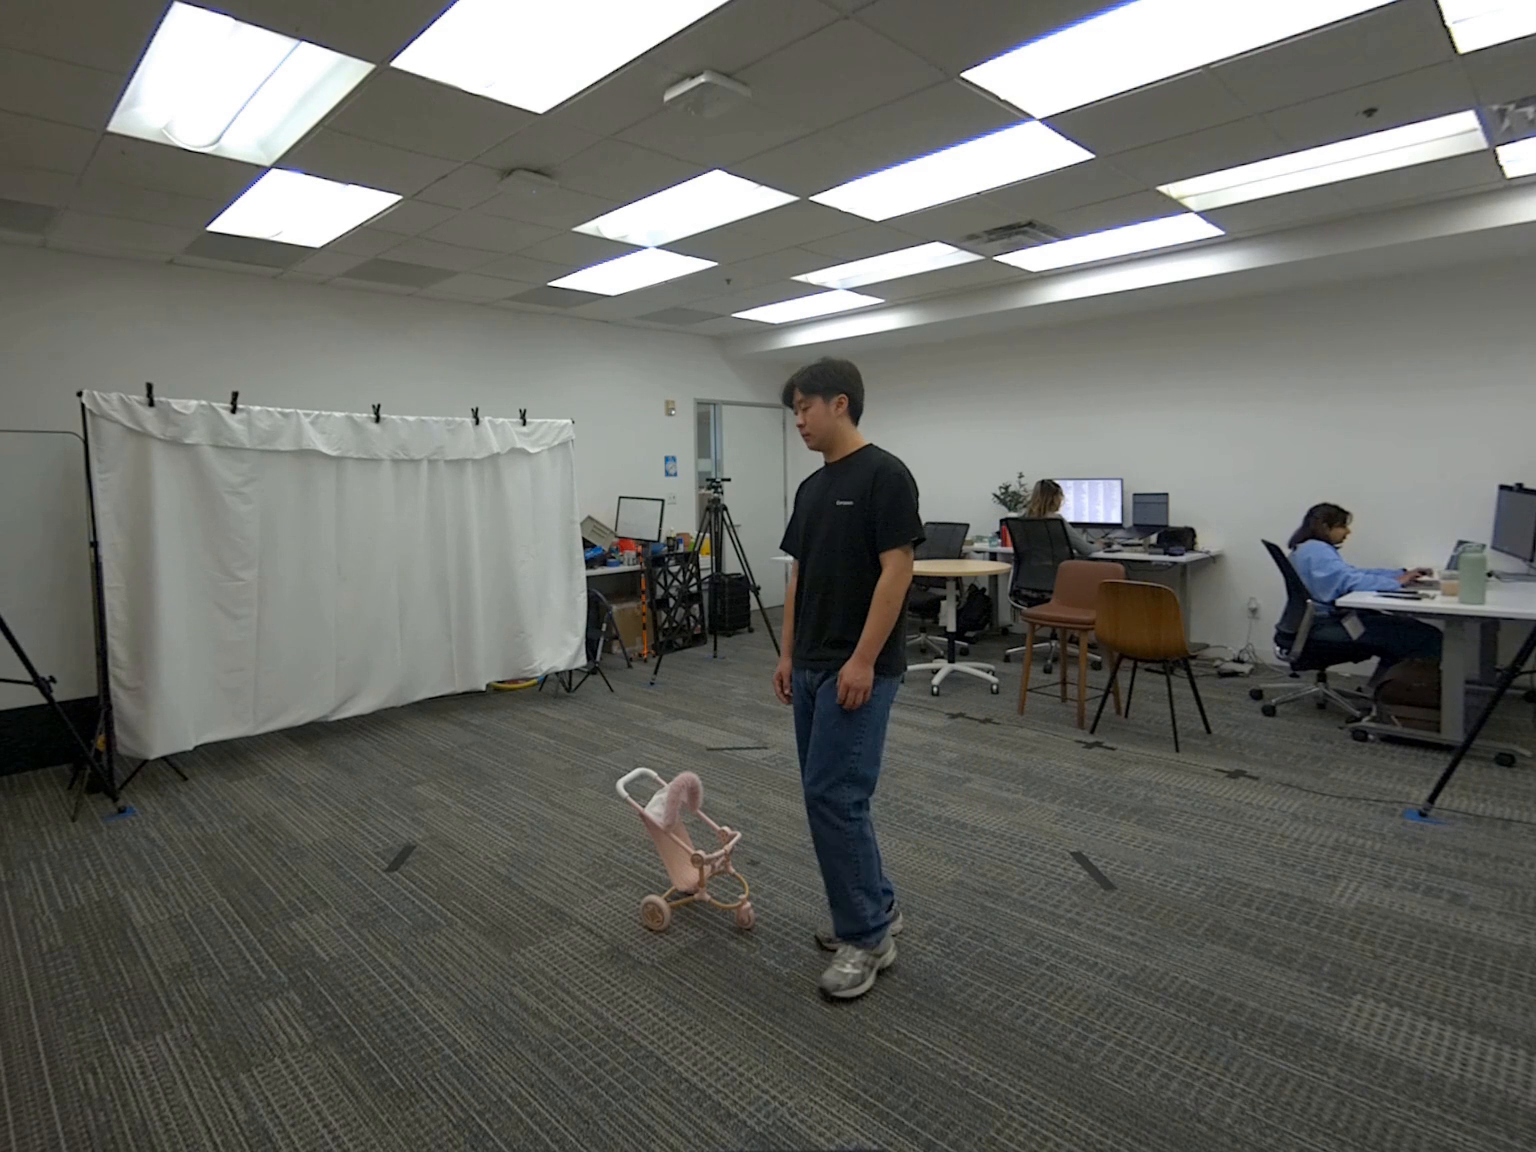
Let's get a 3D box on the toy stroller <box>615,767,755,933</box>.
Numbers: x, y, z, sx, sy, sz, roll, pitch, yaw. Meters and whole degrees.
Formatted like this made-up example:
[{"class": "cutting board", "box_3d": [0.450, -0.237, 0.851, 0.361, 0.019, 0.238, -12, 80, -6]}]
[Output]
[{"class": "toy stroller", "box_3d": [-0.239, 0.863, 2.724, 0.347, 0.537, 0.275, -17, -4, 29]}]
